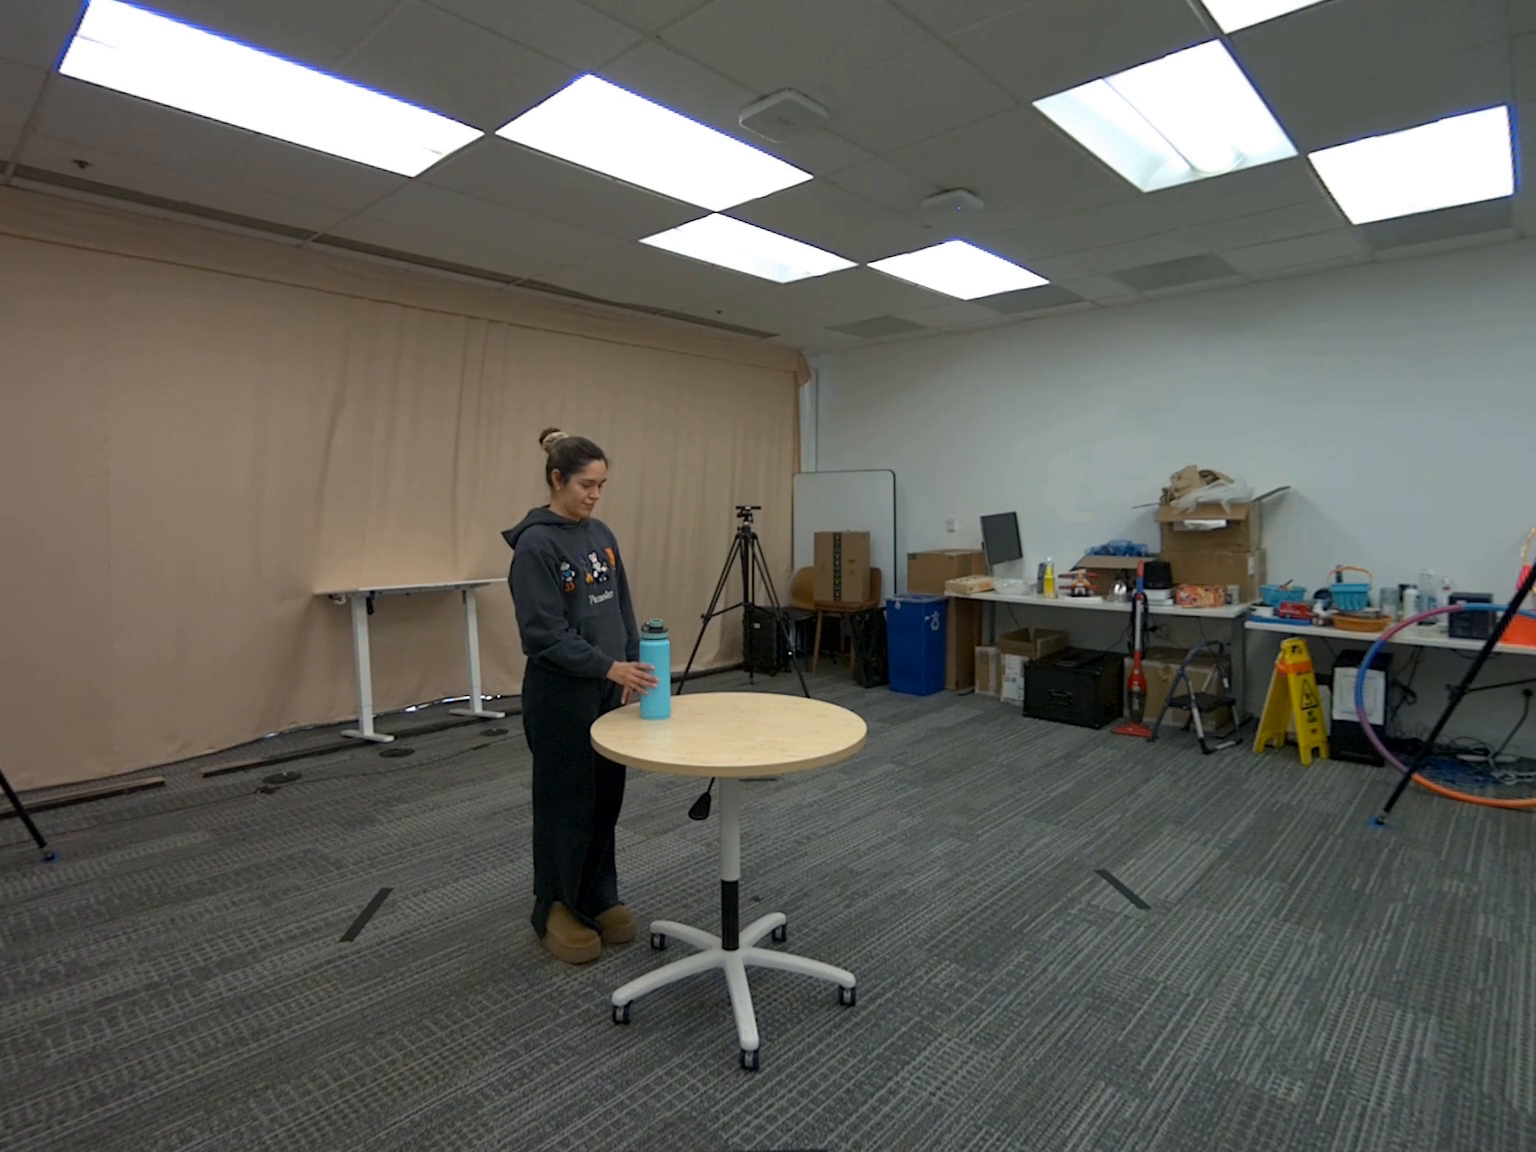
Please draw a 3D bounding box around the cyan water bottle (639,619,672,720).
[{"bbox_3d":[-0.327,0.271,2.439,0.092,0.283,0.092,-3,3,-2],"label":"cyan water bottle"}]
